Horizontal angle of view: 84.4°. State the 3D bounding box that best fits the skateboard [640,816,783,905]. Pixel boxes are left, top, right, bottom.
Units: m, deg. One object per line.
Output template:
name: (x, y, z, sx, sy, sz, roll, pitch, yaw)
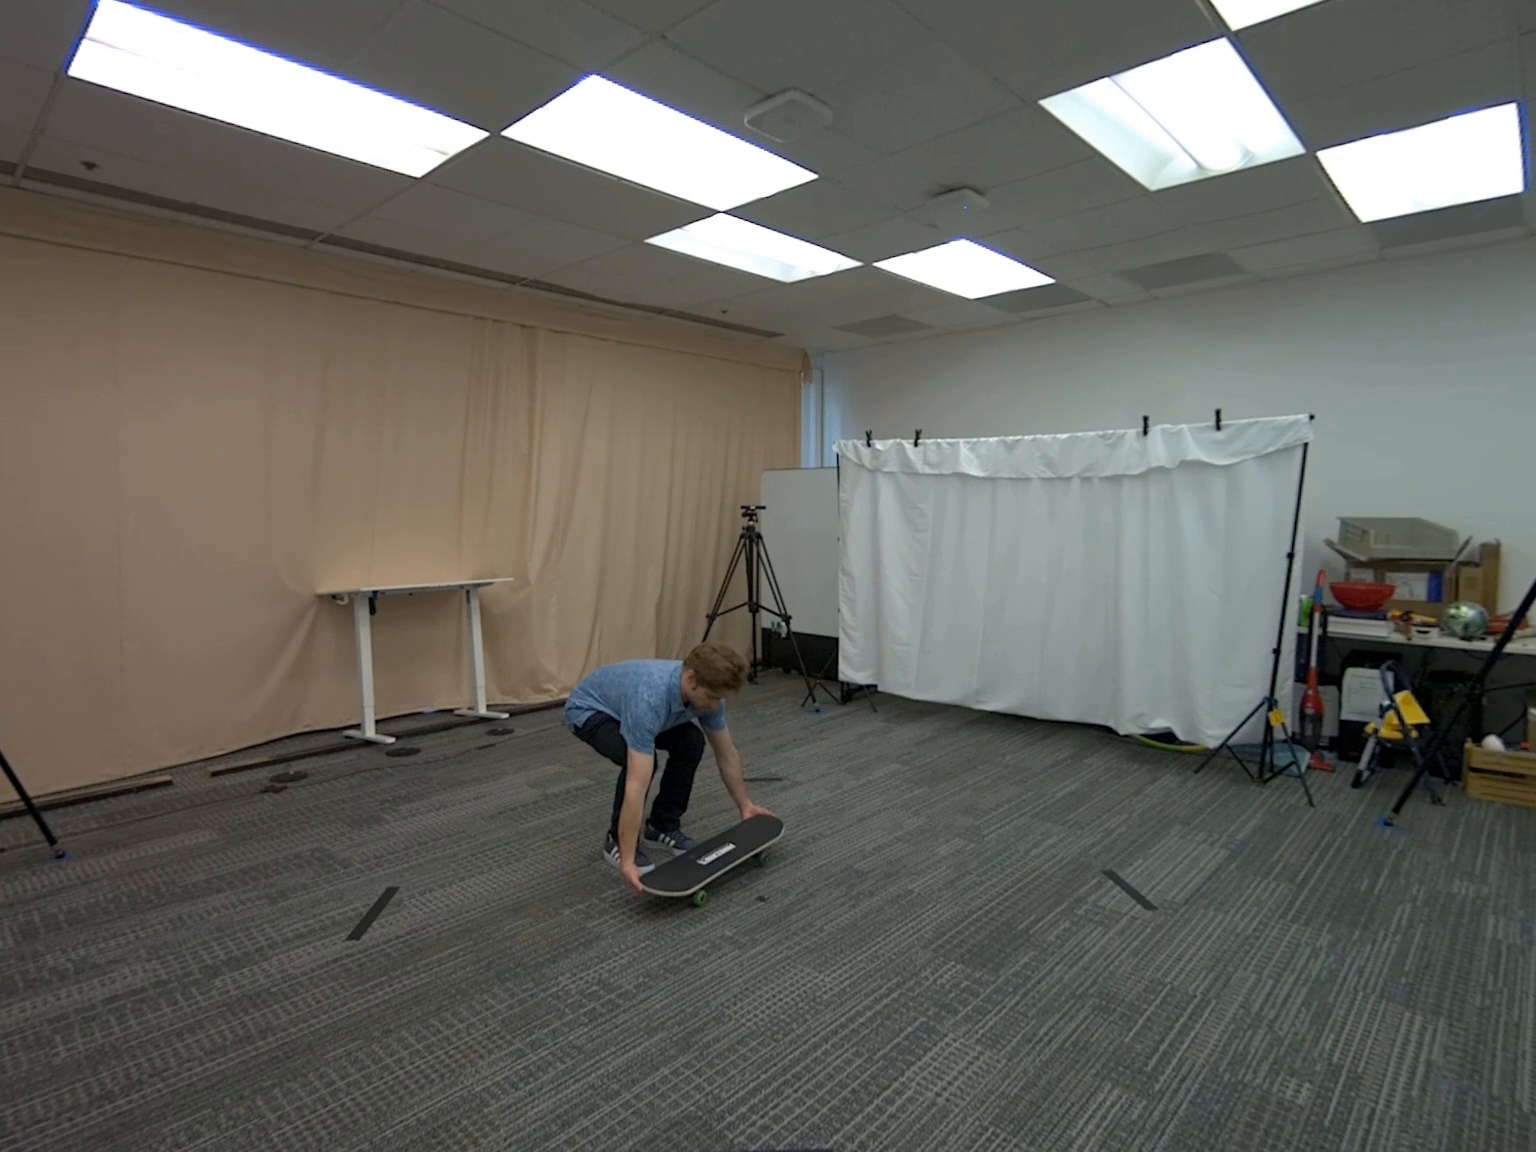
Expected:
skateboard: (-0.190, 1.055, 3.124, 0.200, 0.110, 0.763, 8, 9, 35)
